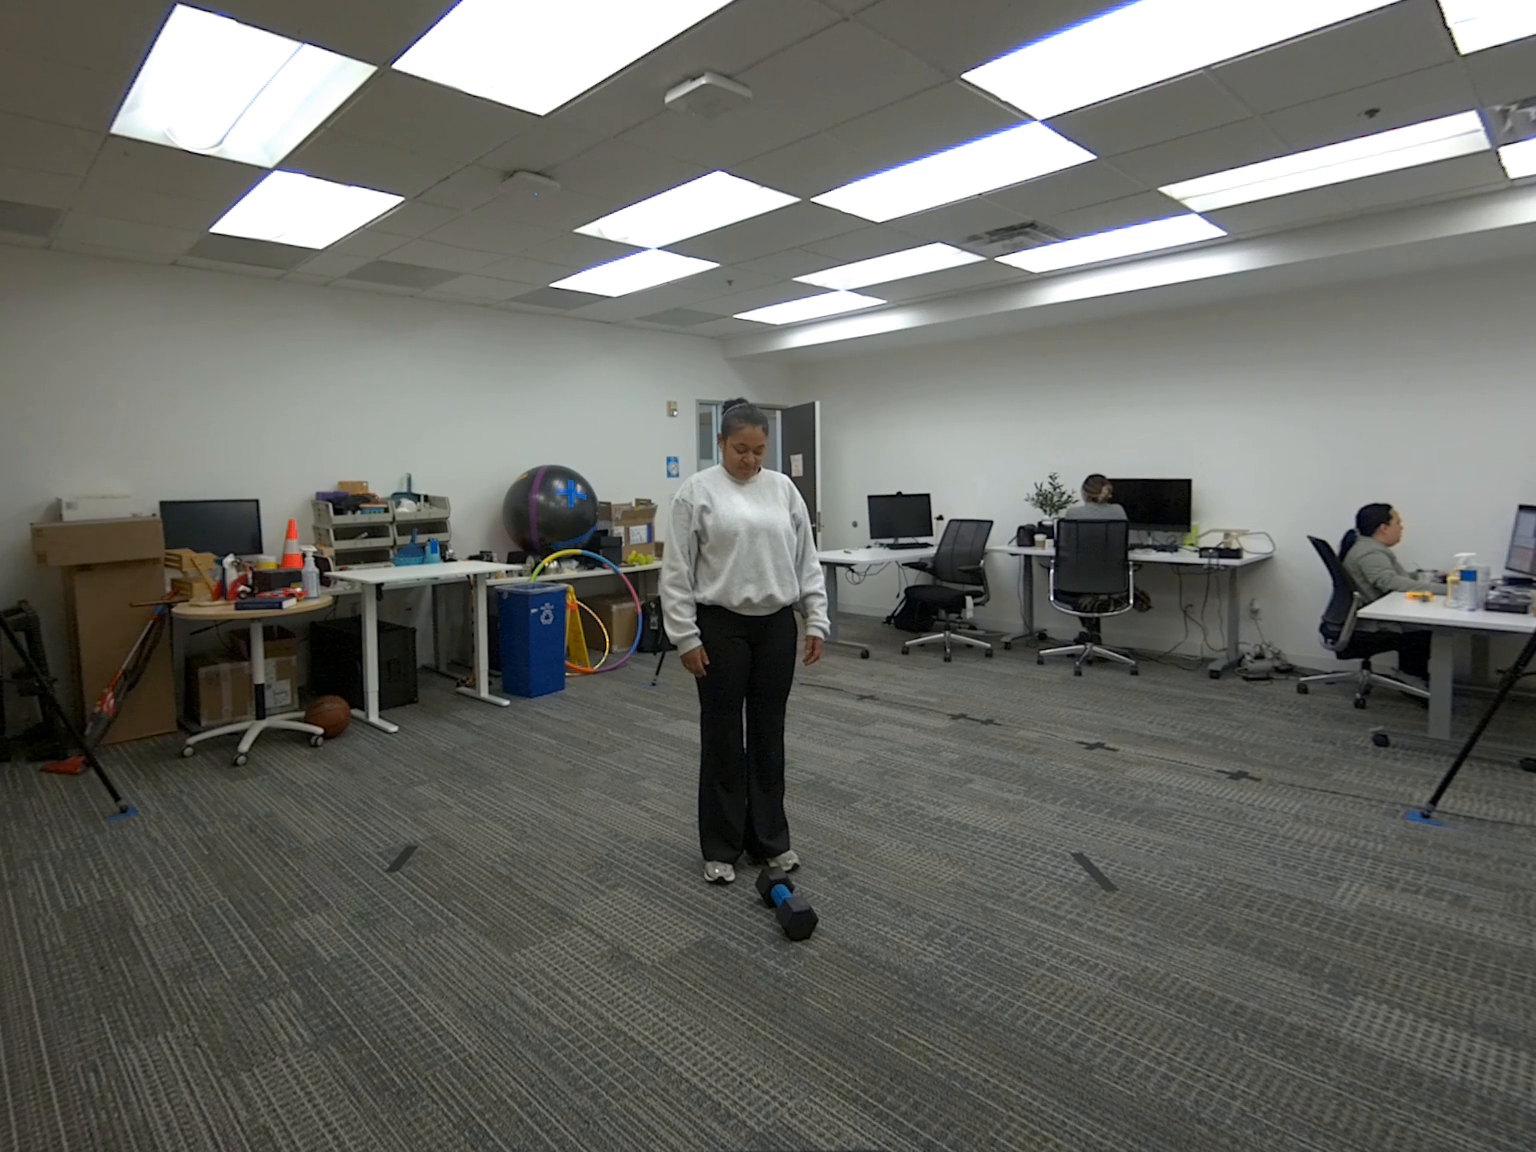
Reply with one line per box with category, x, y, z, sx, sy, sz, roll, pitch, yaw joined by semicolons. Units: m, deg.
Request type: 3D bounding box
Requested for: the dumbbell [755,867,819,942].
dumbbell;0.059;1.043;2.712;0.108;0.121;0.299;-31;13;-11
